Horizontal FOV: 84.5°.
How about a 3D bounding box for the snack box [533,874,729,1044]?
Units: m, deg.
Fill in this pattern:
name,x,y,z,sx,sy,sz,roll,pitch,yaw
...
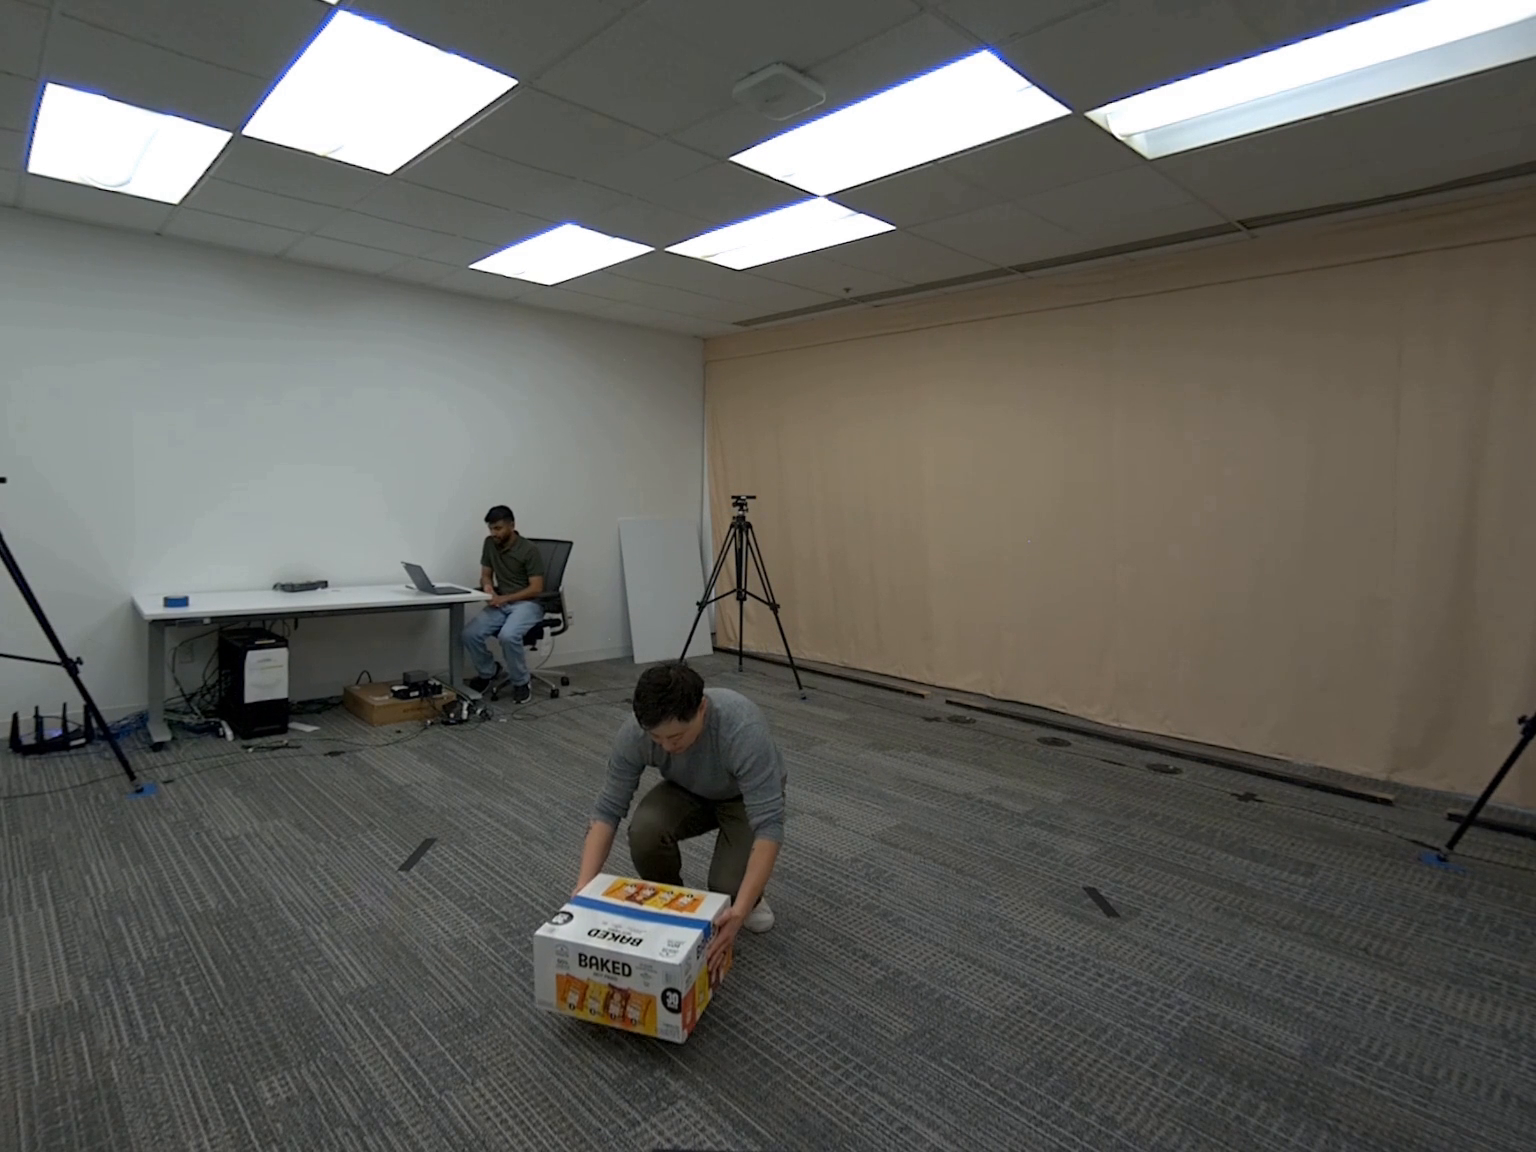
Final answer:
name,x,y,z,sx,sy,sz,roll,pitch,yaw
snack box,-0.352,0.973,2.207,0.411,0.205,0.336,2,6,19
